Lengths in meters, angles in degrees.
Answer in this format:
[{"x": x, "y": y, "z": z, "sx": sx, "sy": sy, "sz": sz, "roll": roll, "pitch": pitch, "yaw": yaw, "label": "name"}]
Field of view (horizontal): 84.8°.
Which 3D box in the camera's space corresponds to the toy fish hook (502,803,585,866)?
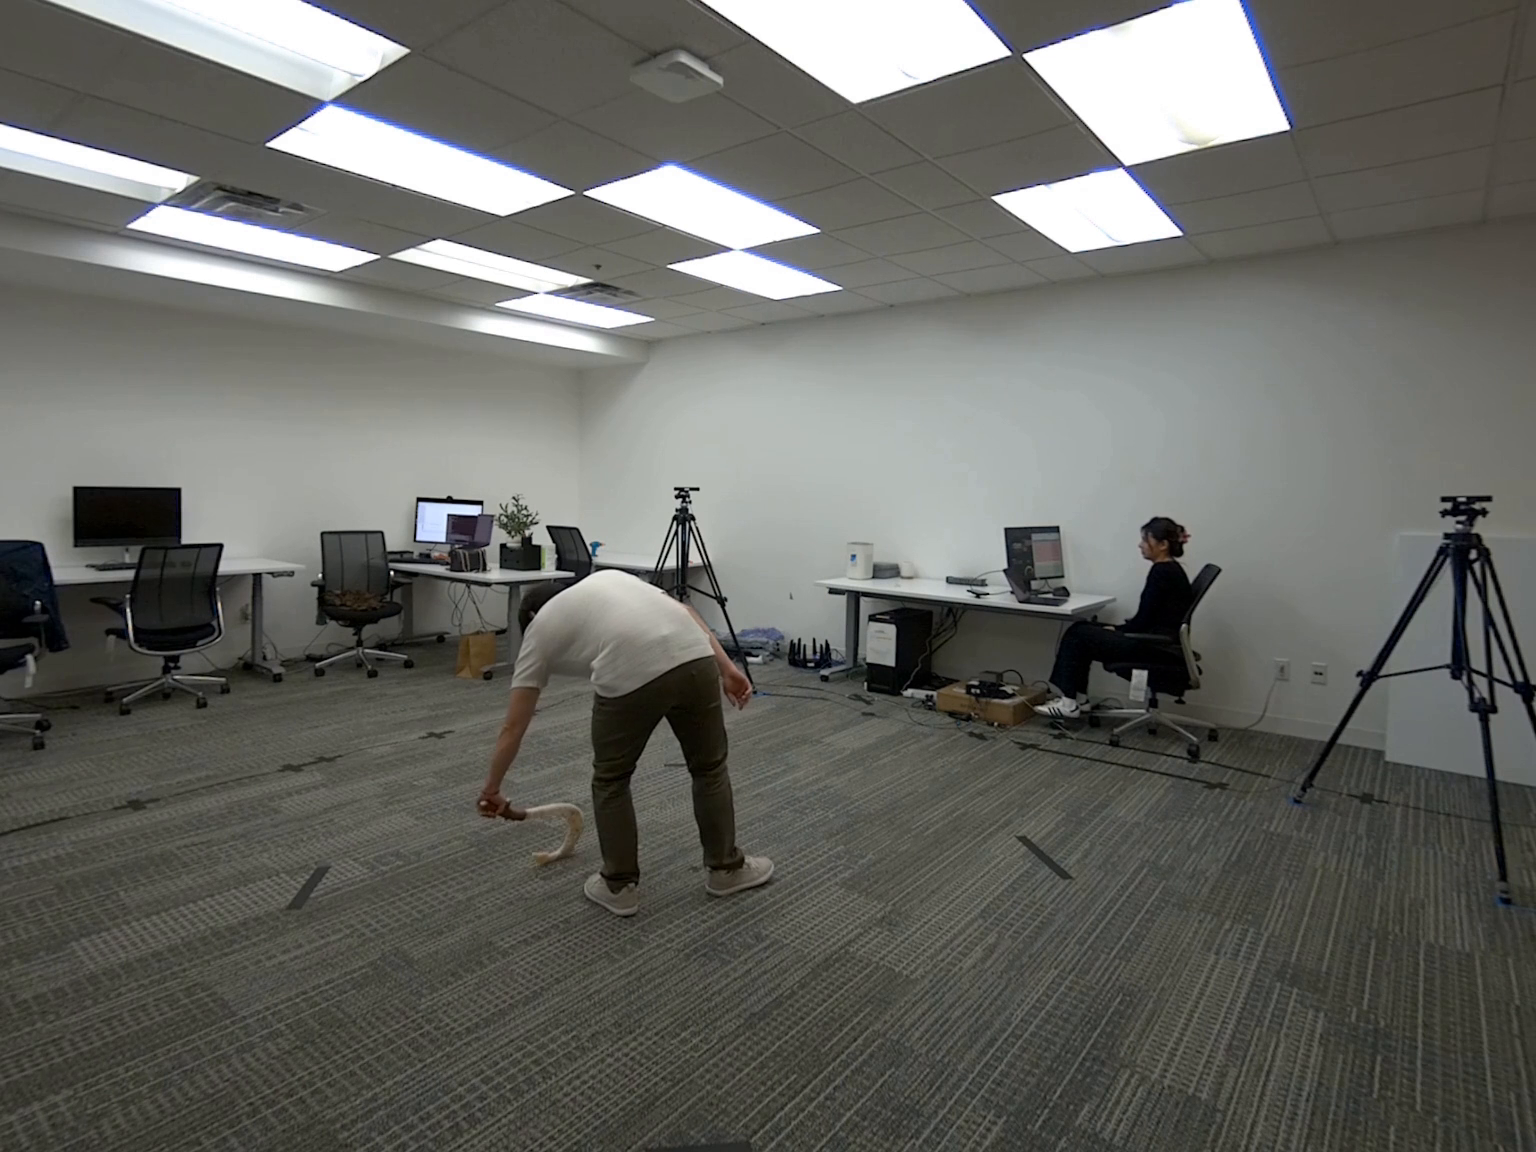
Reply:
[{"x": -0.867, "y": 0.908, "z": 3.045, "sx": 0.050, "sy": 0.226, "sz": 0.486, "roll": 4, "pitch": -17, "yaw": 40, "label": "toy fish hook"}]
